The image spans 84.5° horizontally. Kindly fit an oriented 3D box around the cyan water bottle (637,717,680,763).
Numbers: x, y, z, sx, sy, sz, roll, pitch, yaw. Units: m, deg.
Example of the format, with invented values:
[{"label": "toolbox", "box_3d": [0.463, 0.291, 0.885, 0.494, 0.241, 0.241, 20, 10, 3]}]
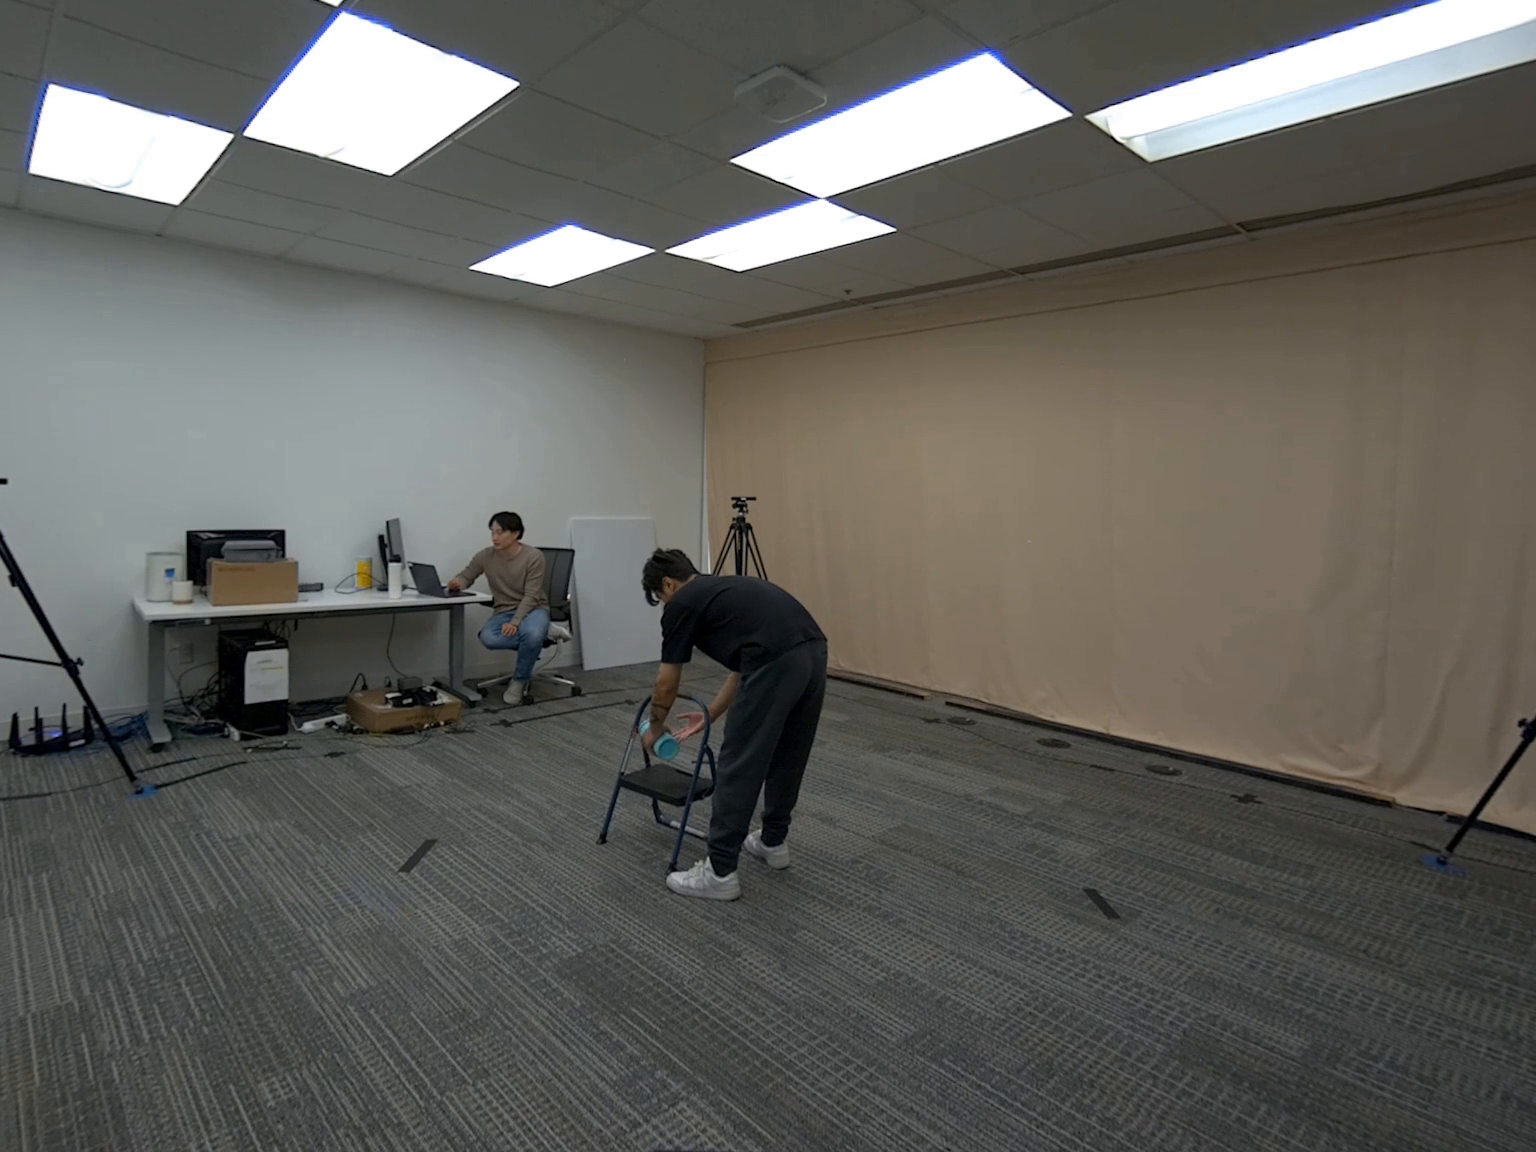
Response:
[{"label": "cyan water bottle", "box_3d": [-0.446, 0.638, 3.307, 0.091, 0.092, 0.289, 0, 8, -24]}]
